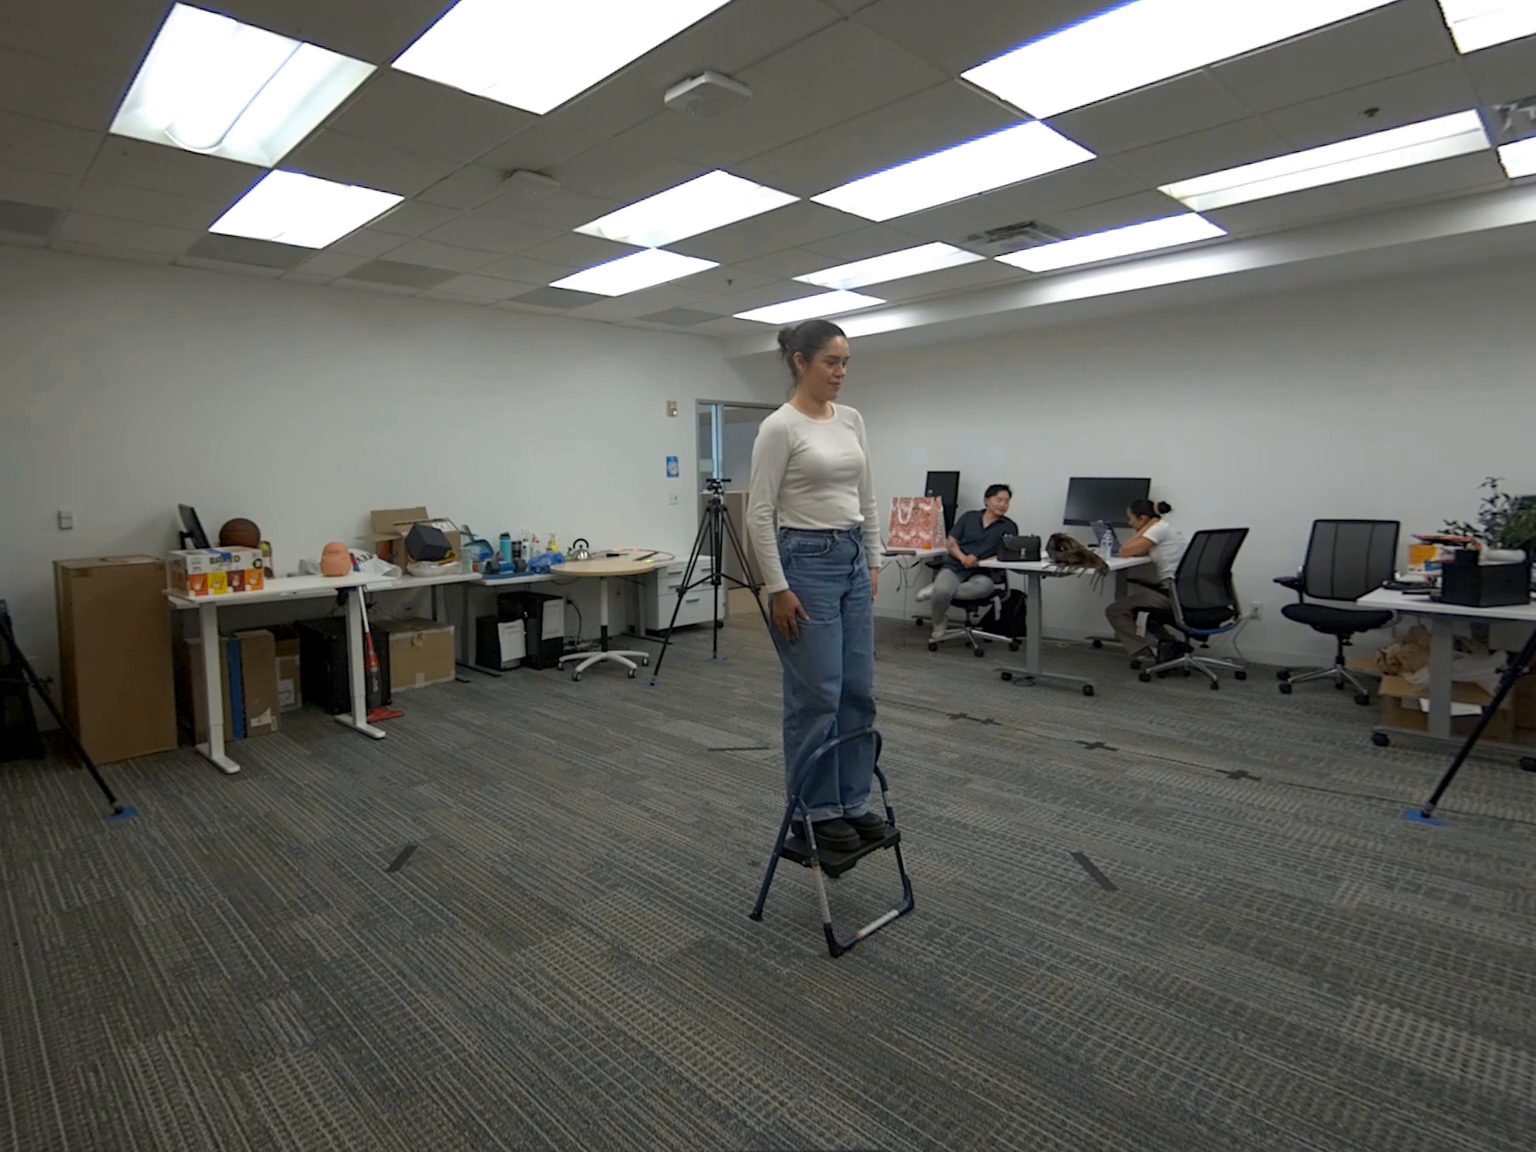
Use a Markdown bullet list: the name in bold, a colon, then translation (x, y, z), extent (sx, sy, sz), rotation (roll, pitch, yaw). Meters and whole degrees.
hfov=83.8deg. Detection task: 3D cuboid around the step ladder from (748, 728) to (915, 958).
- **step ladder**: translation (0.209, 0.781, 2.725), extent (0.360, 0.604, 0.419), rotation (3, 6, 44)
